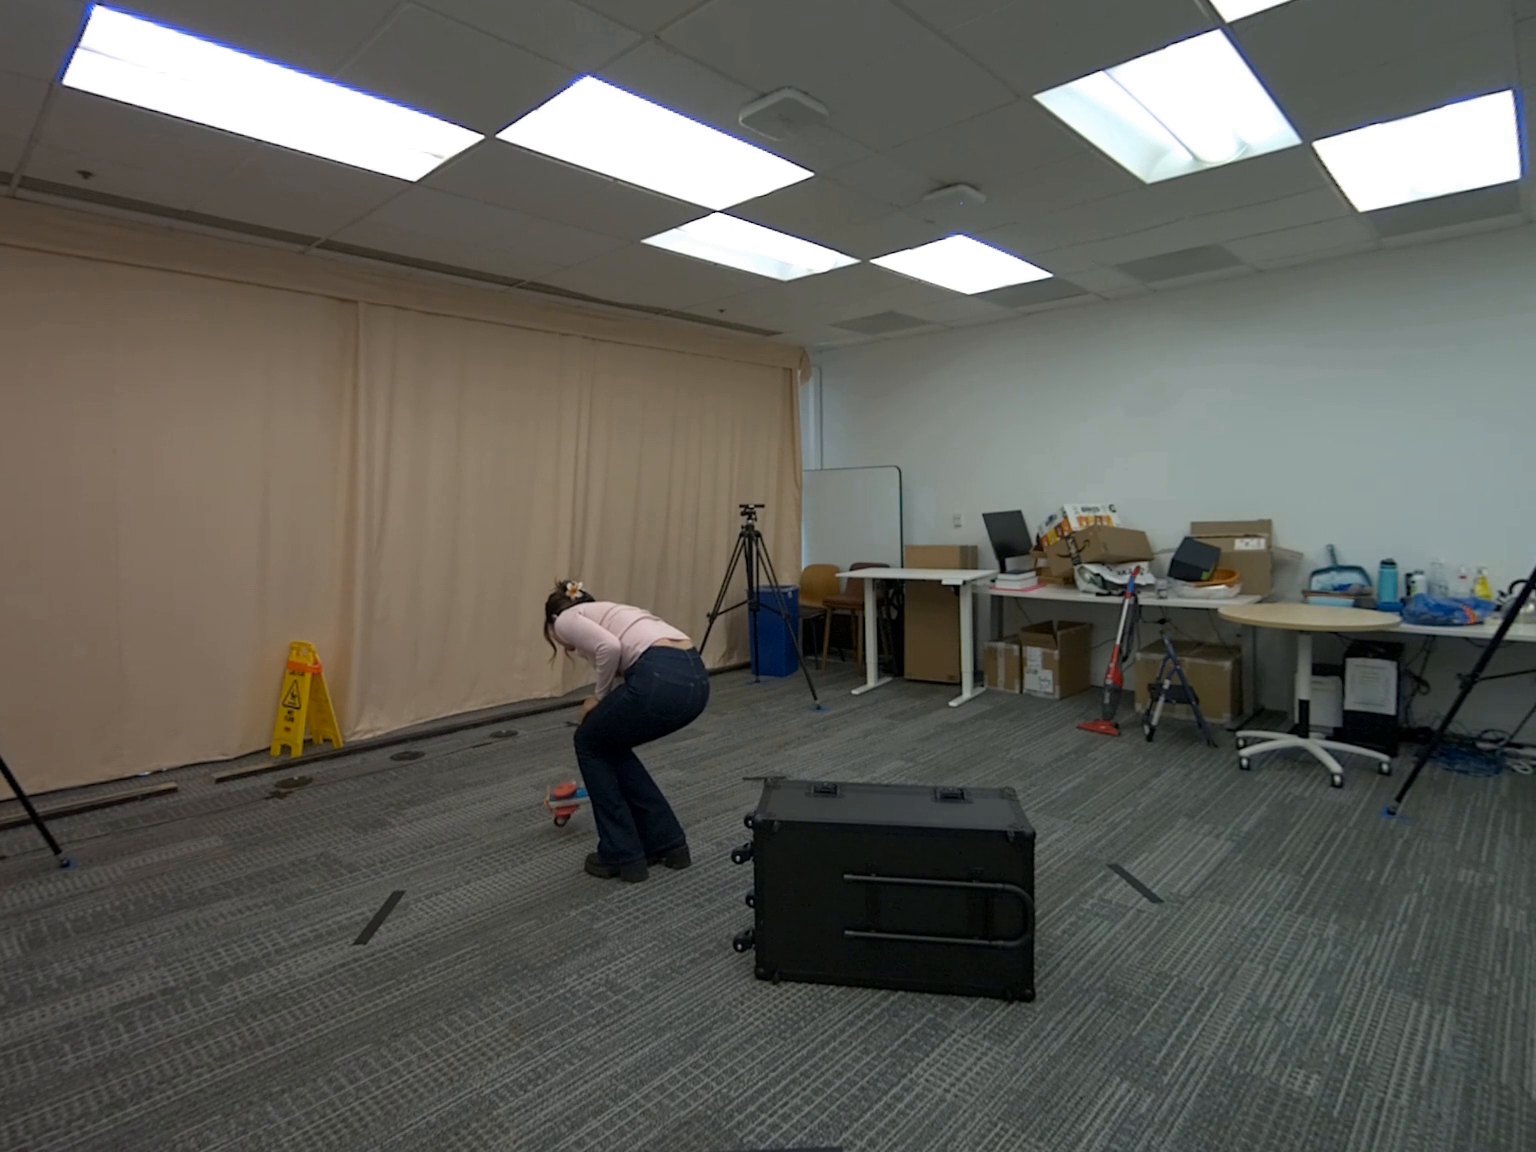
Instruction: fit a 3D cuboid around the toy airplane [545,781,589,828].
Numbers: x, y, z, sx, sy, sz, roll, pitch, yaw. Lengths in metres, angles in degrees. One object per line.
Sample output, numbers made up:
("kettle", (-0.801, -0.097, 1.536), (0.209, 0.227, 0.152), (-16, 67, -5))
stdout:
("toy airplane", (-0.825, 0.954, 3.628), (0.254, 0.156, 0.256), (-23, 2, -31))
